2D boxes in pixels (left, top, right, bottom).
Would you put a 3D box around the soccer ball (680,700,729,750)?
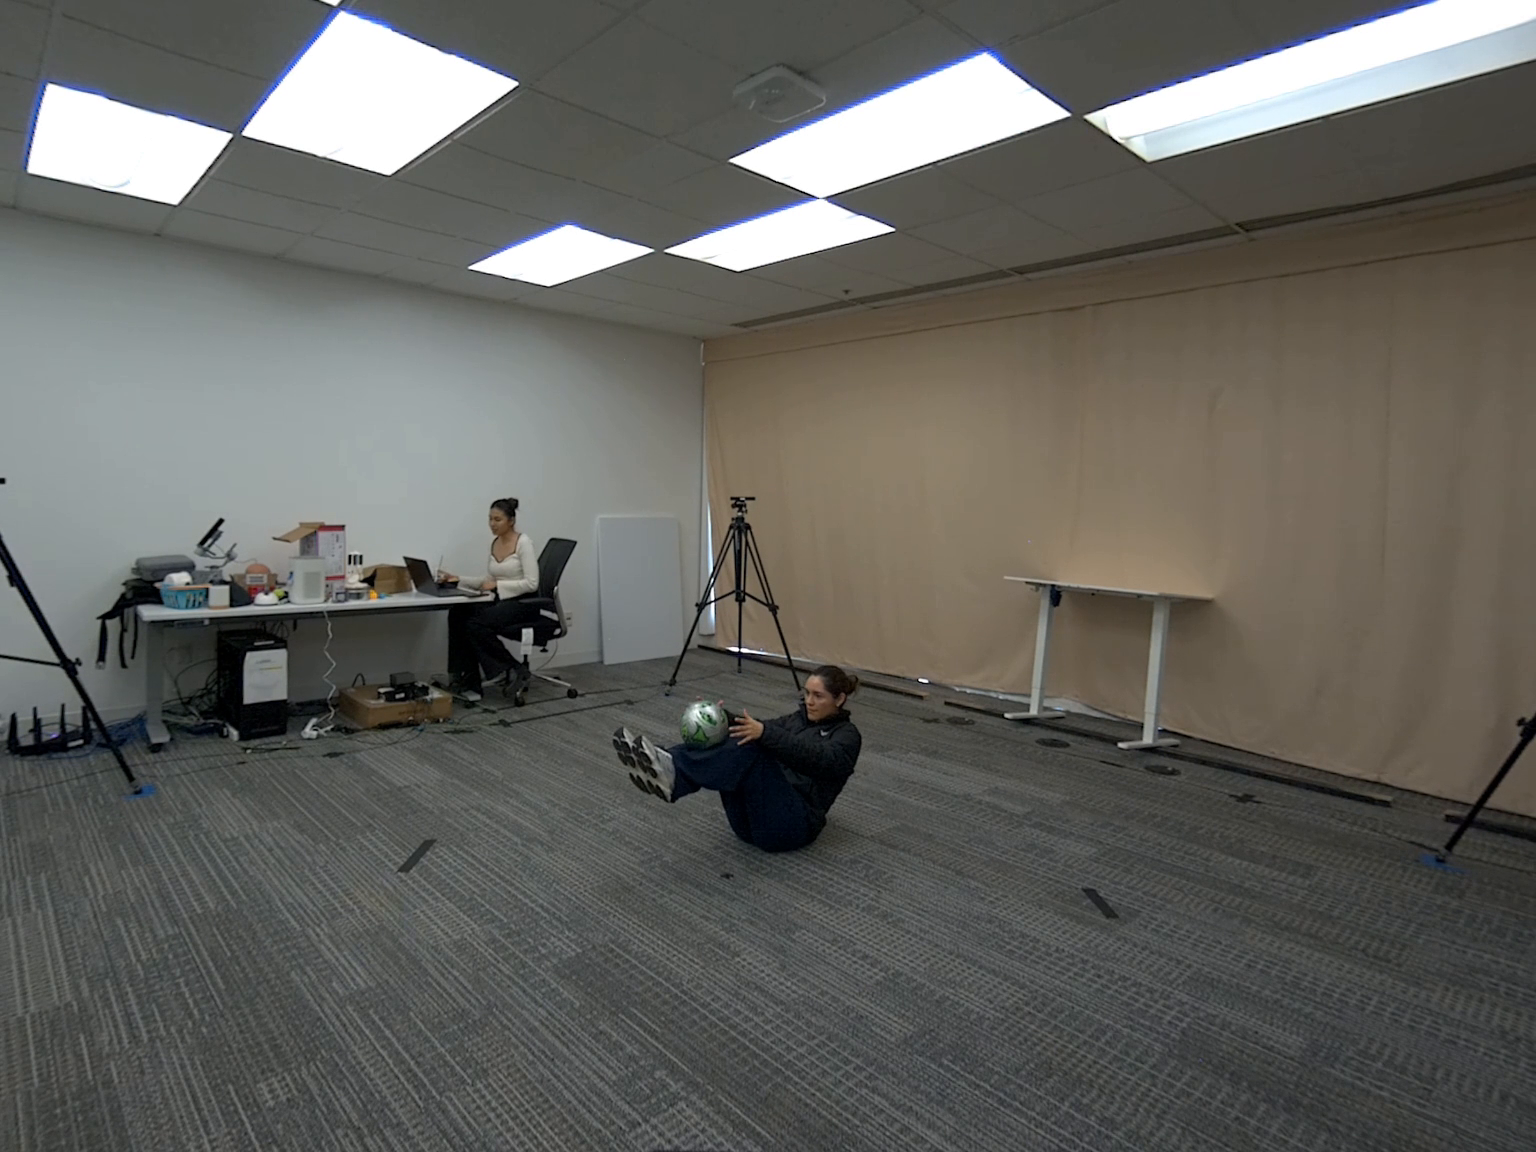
[{"bbox_3d":[-0.258,0.570,3.191,0.187,0.186,0.188,0,7,-1],"label":"soccer ball"}]
